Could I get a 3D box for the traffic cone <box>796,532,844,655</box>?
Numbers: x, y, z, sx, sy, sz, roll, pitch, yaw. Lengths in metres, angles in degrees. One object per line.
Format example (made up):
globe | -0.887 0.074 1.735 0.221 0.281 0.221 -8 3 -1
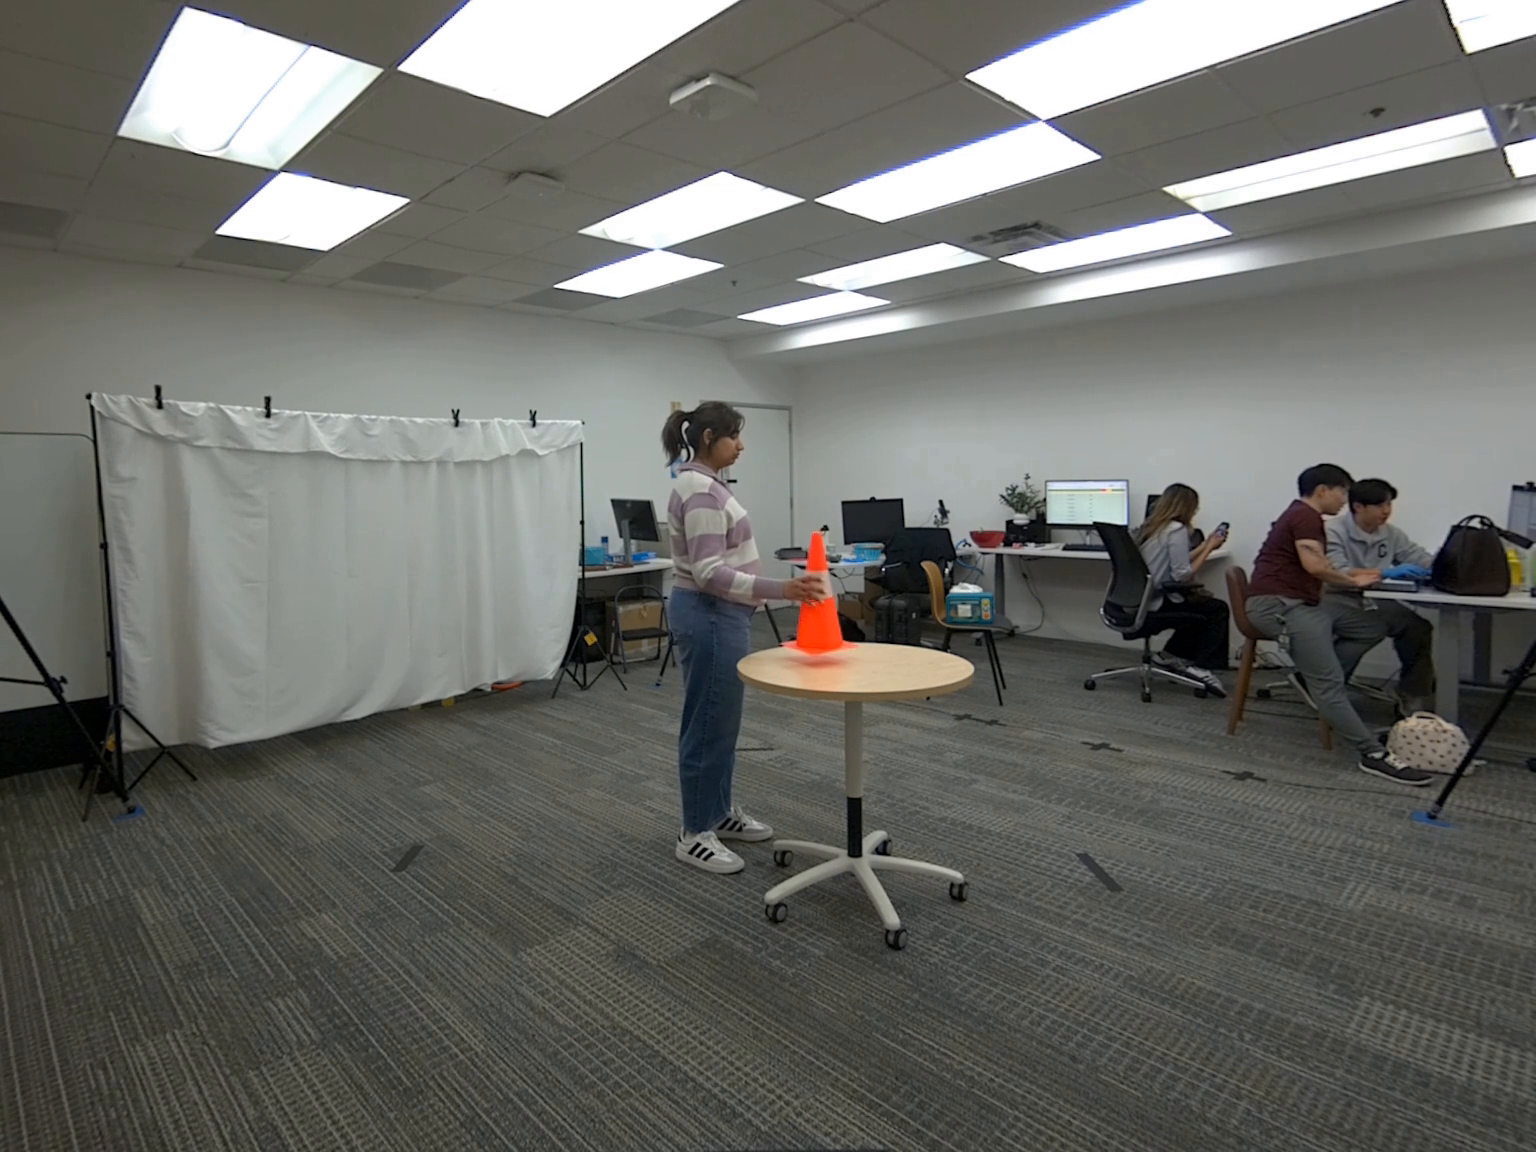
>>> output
traffic cone | 0.168 0.049 2.846 0.200 0.381 0.210 -7 8 -41
